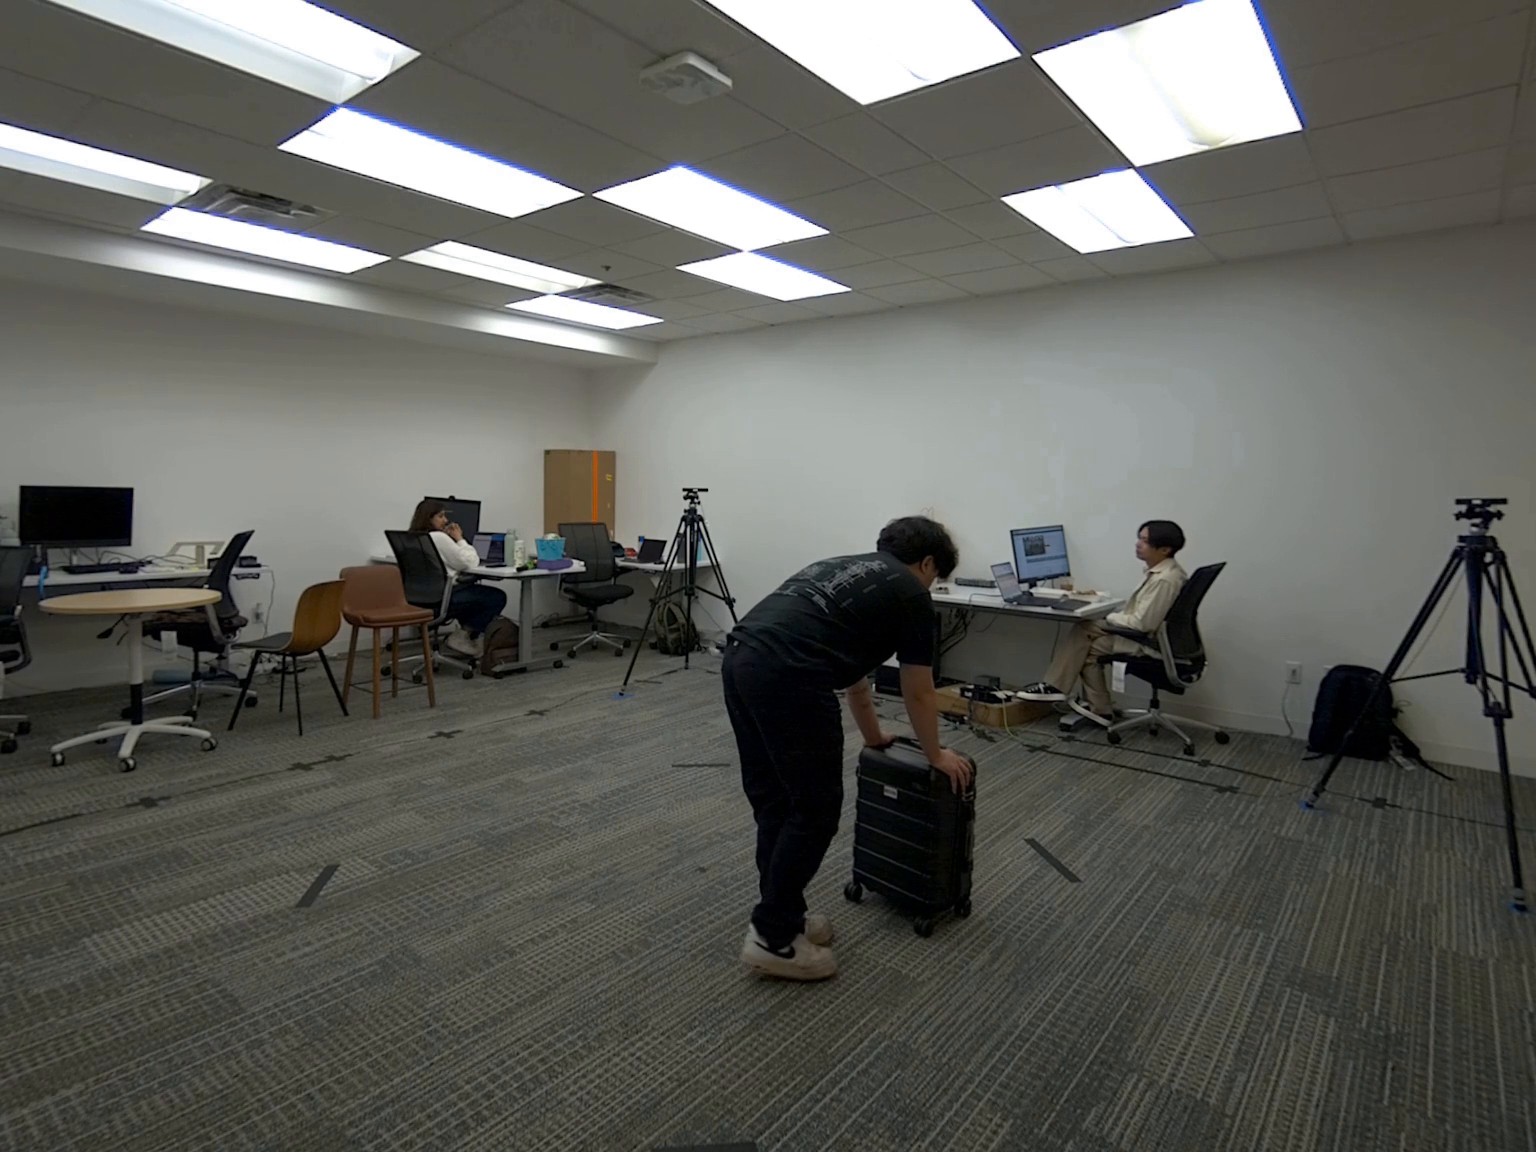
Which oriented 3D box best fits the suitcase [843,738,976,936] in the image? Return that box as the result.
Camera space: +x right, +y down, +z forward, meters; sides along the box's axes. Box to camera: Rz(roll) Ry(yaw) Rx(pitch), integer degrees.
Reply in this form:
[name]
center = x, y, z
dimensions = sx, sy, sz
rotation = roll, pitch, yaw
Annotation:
[suitcase]
center = 0.487, 0.833, 2.869
dimensions = 0.240, 0.549, 0.388
rotation = 1, 2, -44
